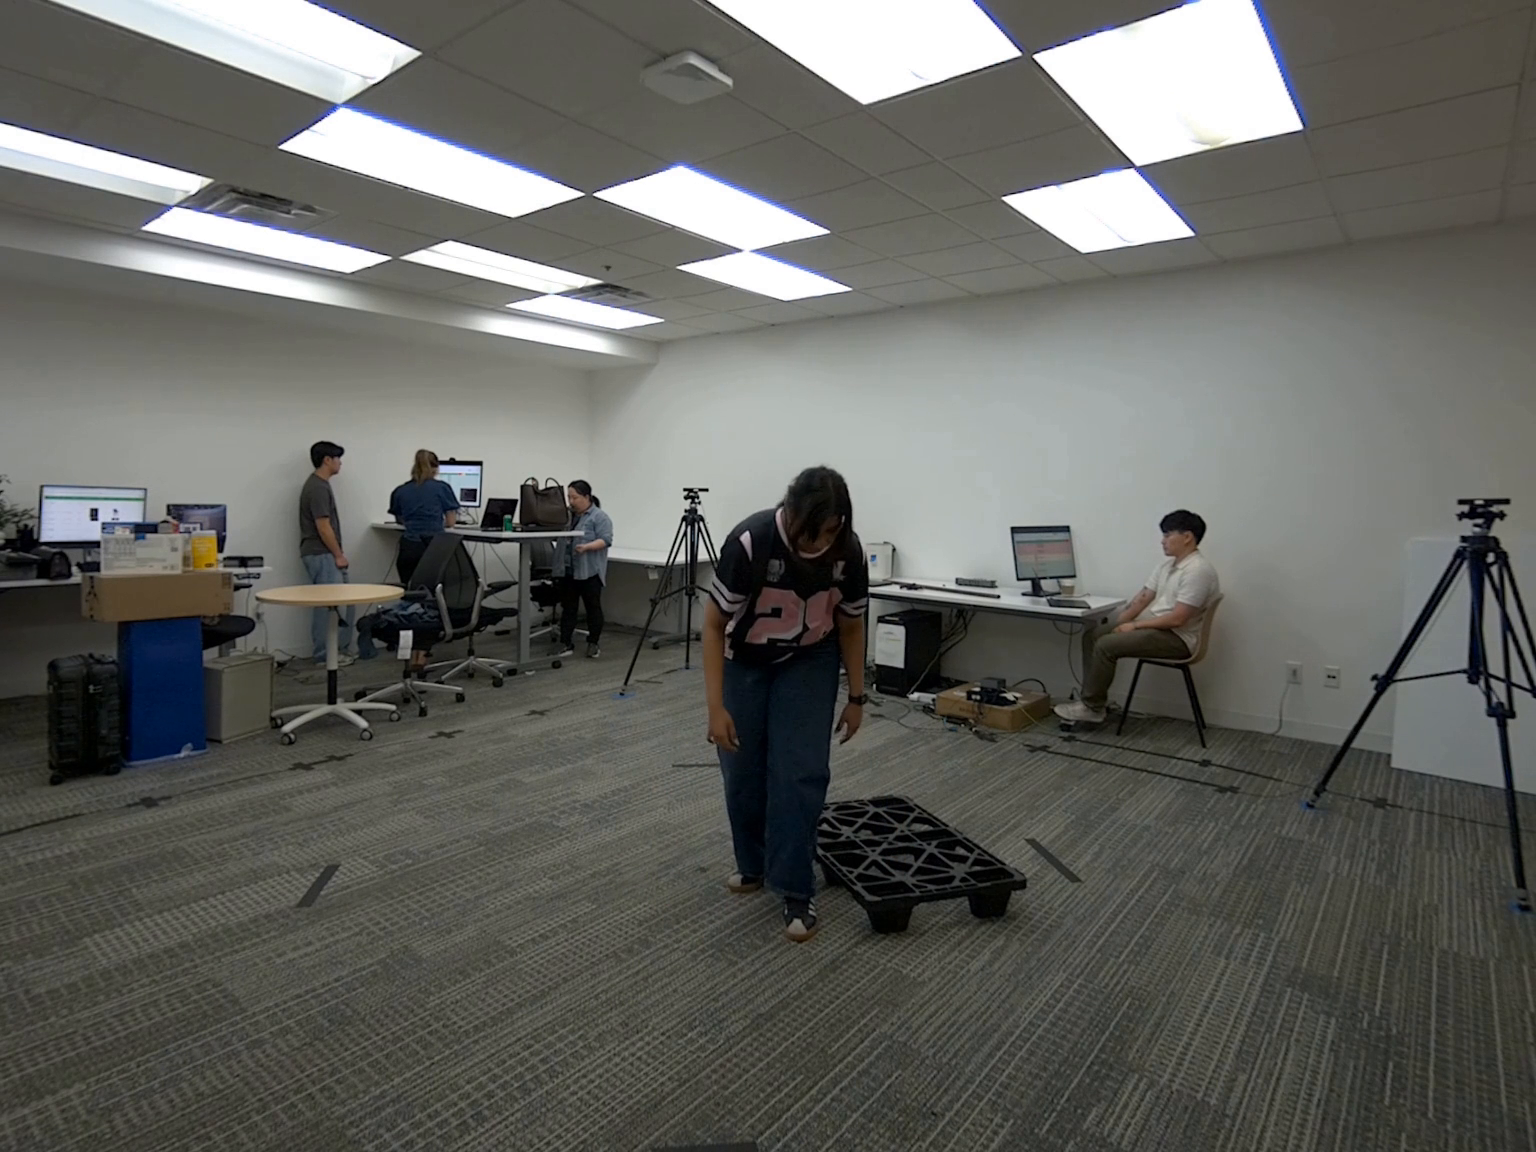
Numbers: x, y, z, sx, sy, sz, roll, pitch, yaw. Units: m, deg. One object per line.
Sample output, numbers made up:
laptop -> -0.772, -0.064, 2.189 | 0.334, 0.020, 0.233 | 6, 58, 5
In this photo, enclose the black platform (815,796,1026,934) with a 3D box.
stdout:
black platform -> 0.428, 1.020, 3.085 | 0.593, 0.143, 0.825 | -1, 6, -20
